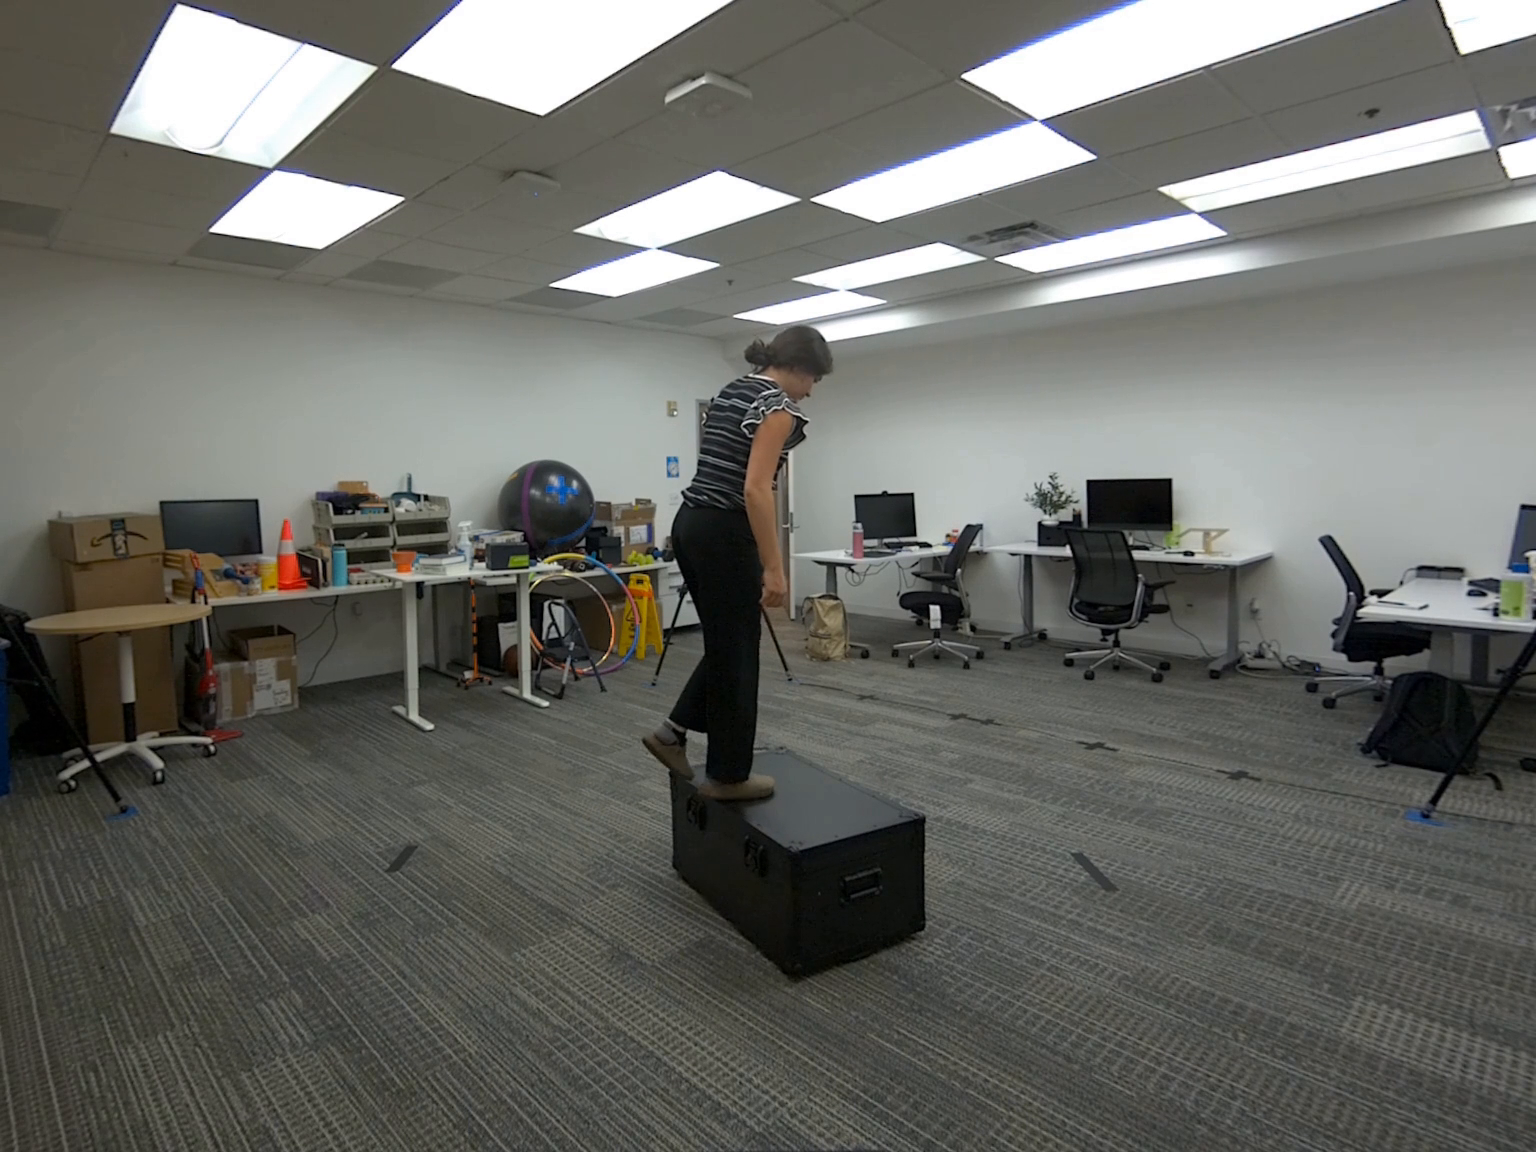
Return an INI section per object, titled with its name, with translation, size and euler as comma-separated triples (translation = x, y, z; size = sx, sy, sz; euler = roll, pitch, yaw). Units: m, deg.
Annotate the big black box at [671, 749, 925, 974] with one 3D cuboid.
[big black box]
translation = 0.052, 0.886, 2.828
size = 0.509, 0.394, 0.886
euler = -4, 7, -30
